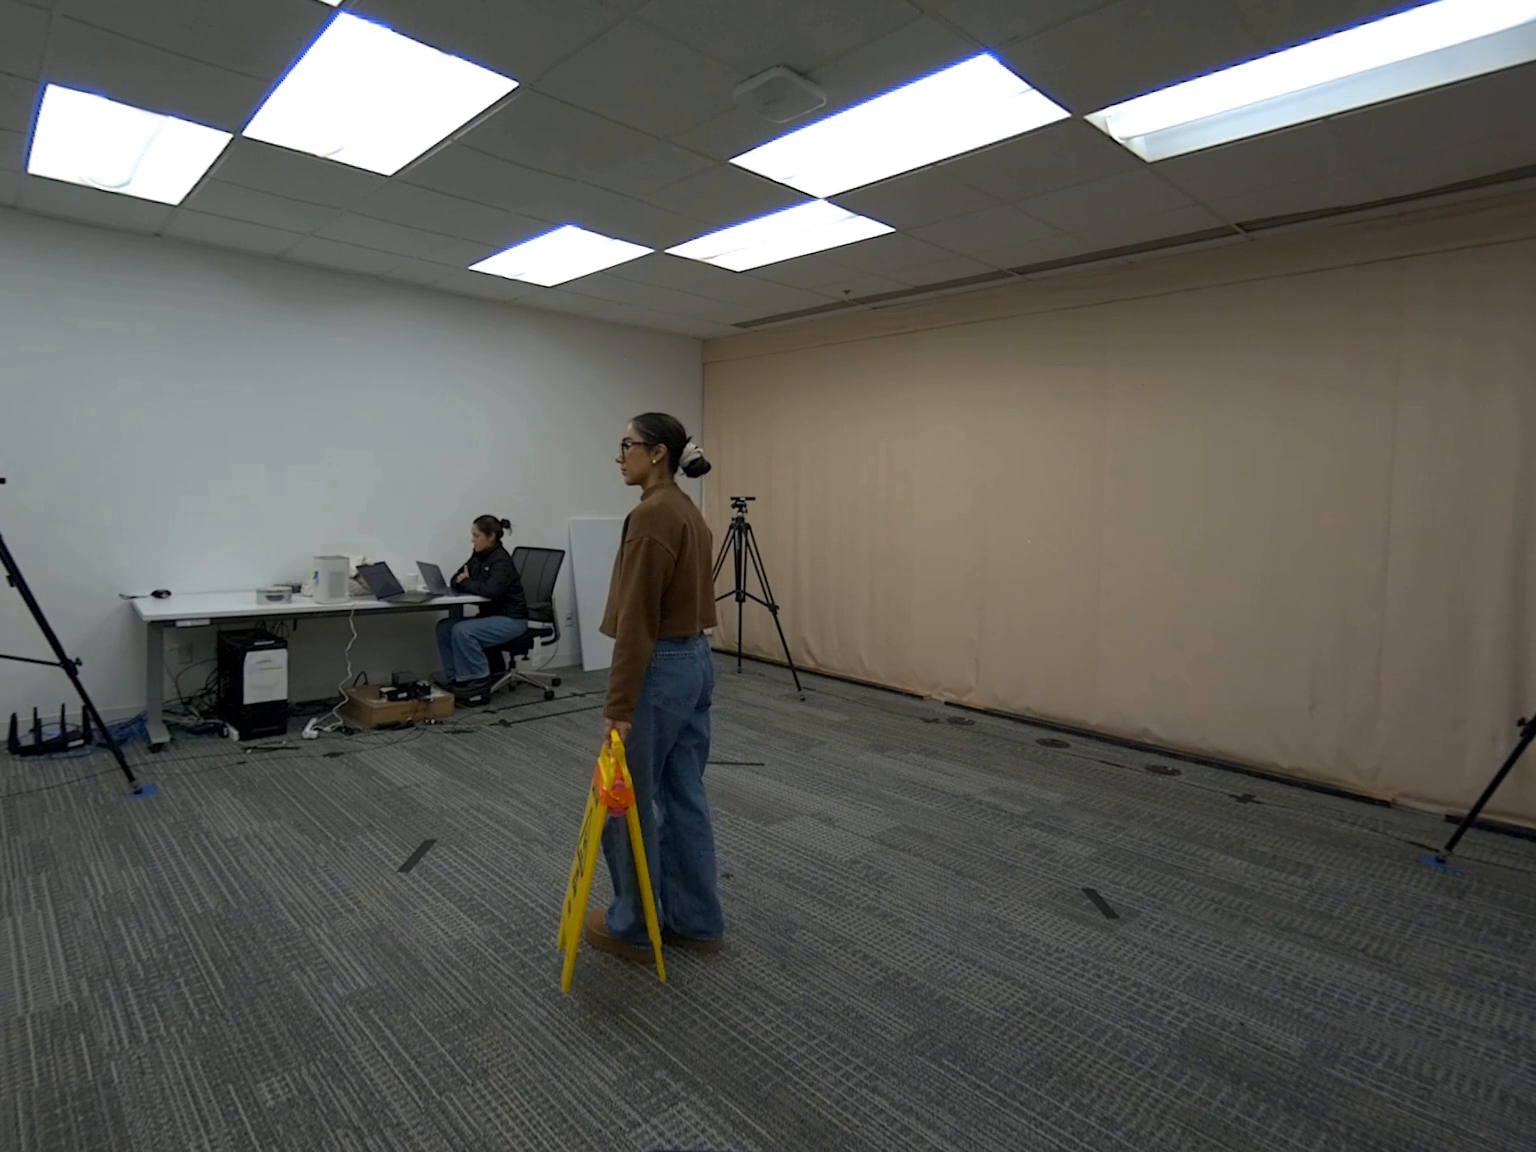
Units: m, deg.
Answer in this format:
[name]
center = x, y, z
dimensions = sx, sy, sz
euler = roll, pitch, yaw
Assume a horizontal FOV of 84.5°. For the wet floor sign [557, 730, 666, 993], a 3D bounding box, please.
[wet floor sign]
center = -0.431, 0.740, 2.289
dimensions = 0.286, 0.644, 0.286
euler = 2, 5, -15
